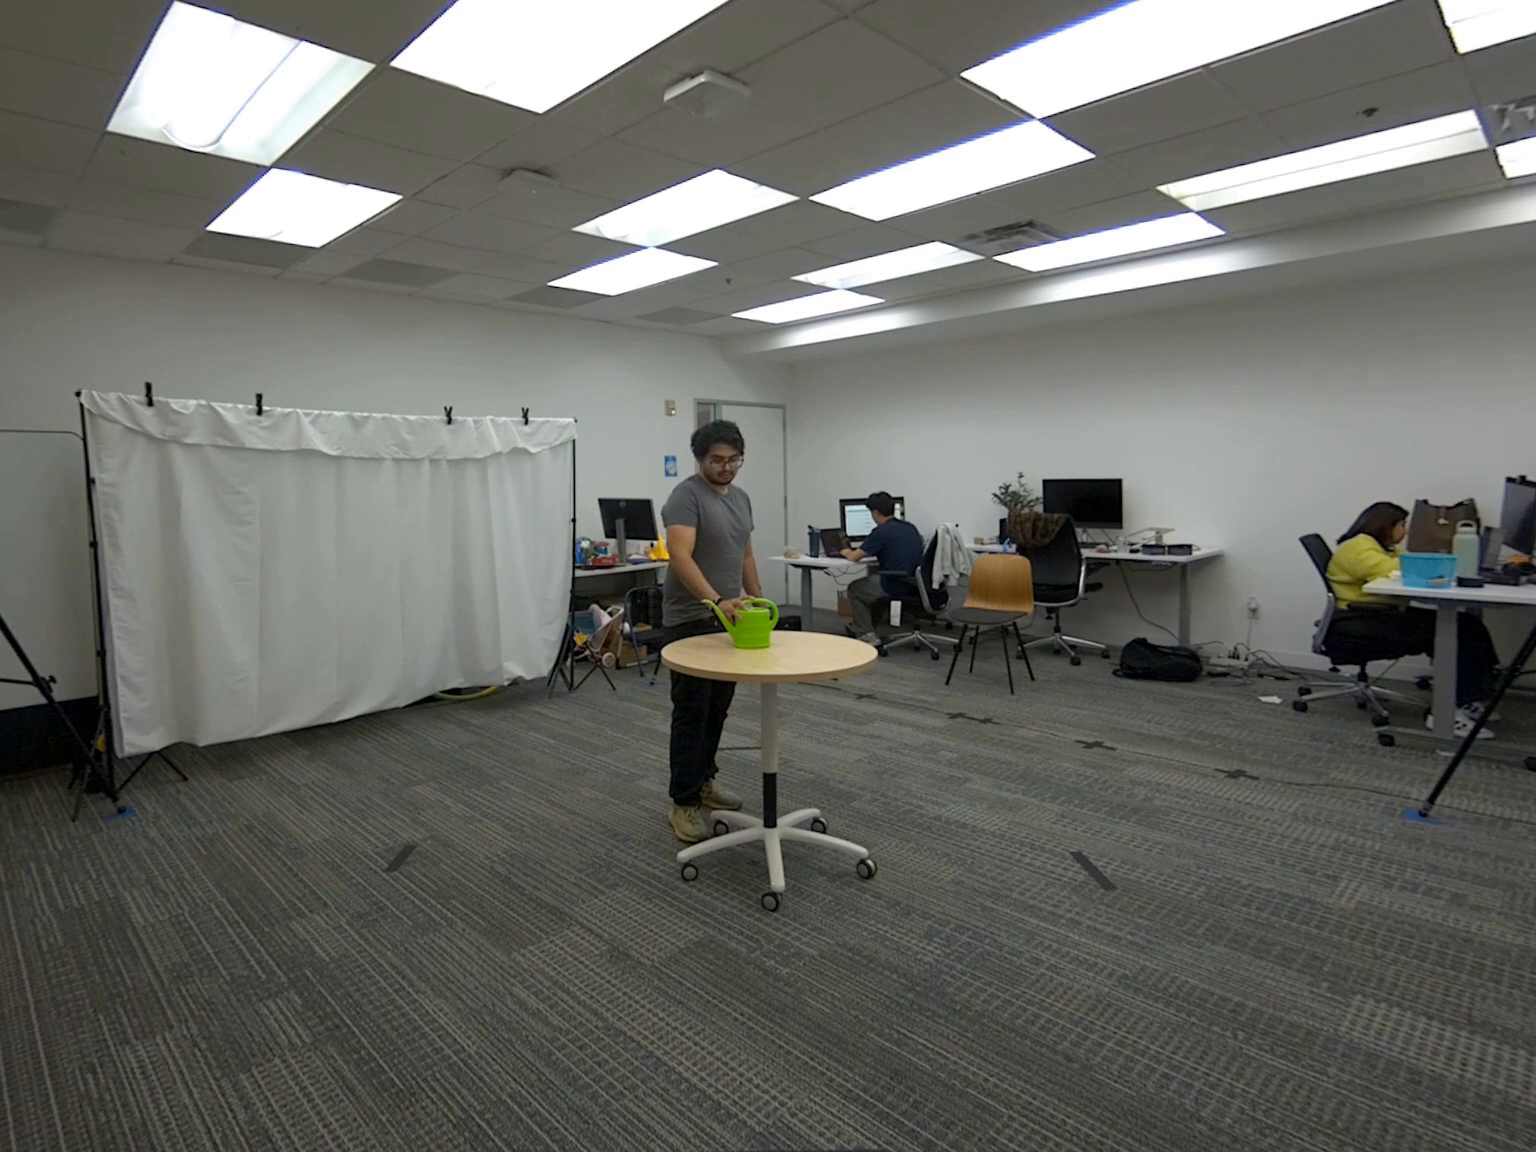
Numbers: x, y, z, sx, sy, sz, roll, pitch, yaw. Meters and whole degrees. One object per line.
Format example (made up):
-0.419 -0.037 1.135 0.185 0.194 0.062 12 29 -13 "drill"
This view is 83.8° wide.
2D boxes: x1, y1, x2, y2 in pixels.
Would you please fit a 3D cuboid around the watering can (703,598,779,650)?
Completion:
-0.105 0.177 3.114 0.278 0.177 0.098 0 1 -1 "watering can"
